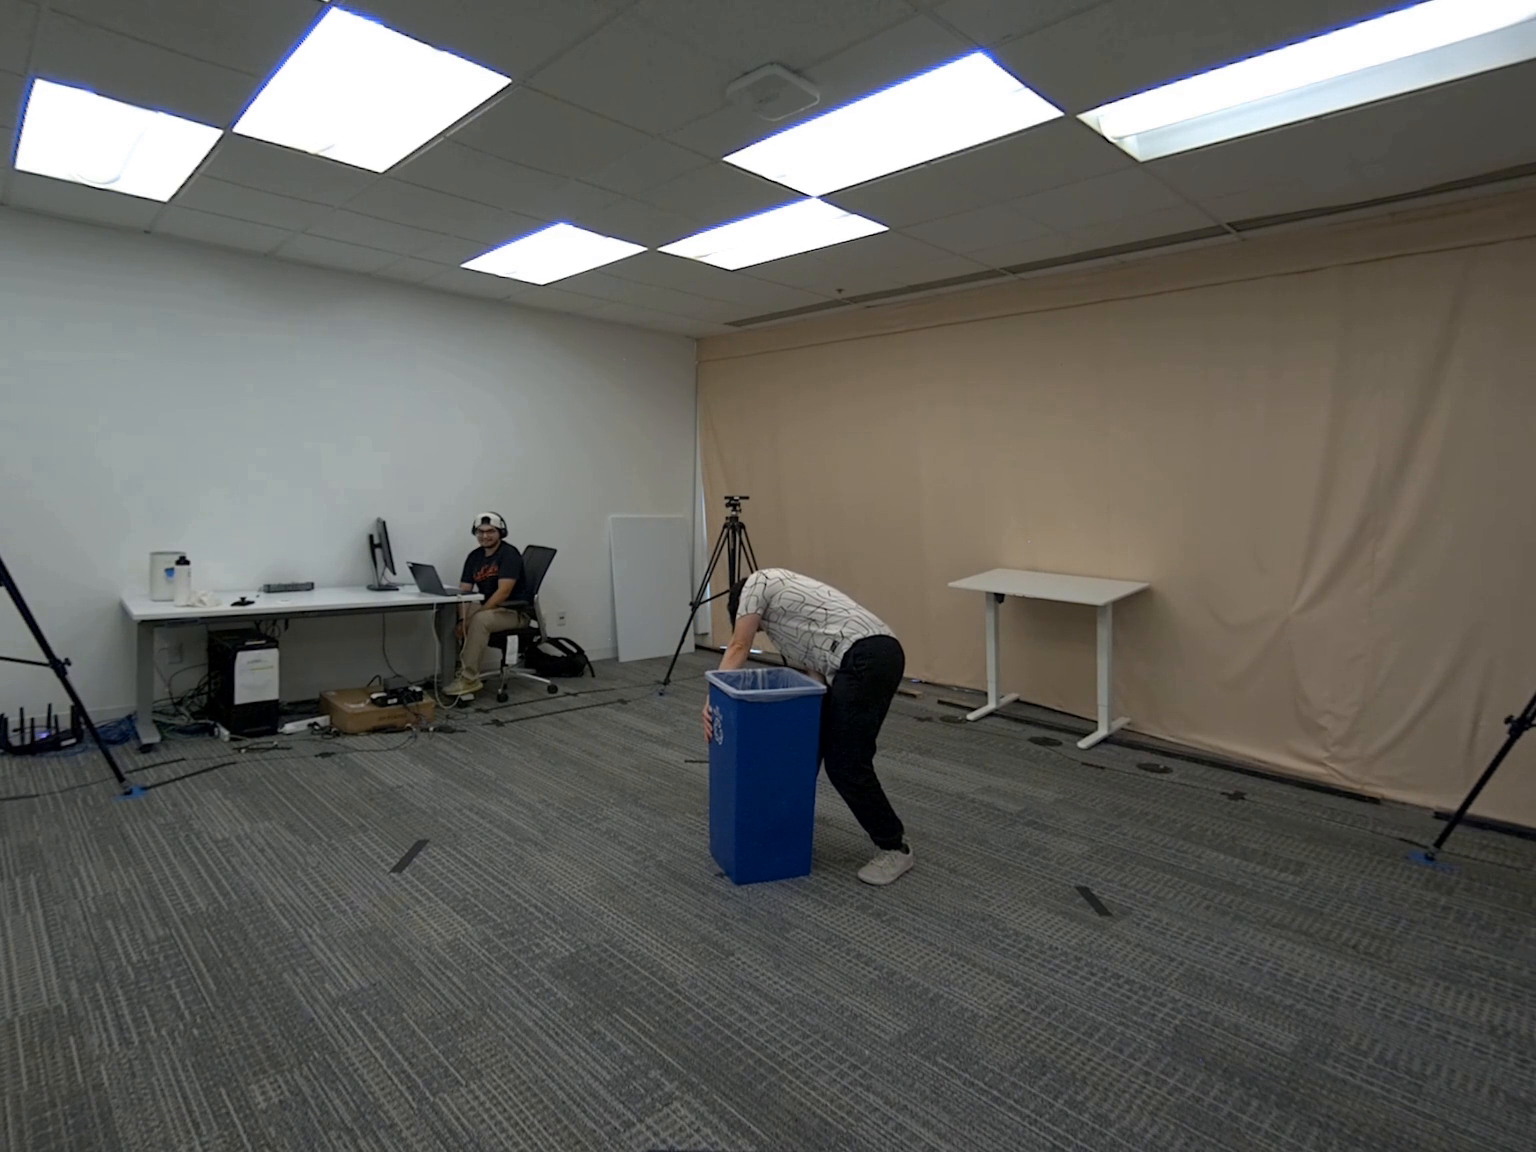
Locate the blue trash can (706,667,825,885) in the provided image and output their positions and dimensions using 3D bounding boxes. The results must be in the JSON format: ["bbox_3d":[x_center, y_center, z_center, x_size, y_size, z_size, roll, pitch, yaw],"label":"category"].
[{"bbox_3d":[-0.031,0.744,3.176,0.368,0.712,0.385,0,4,-23],"label":"blue trash can"}]
